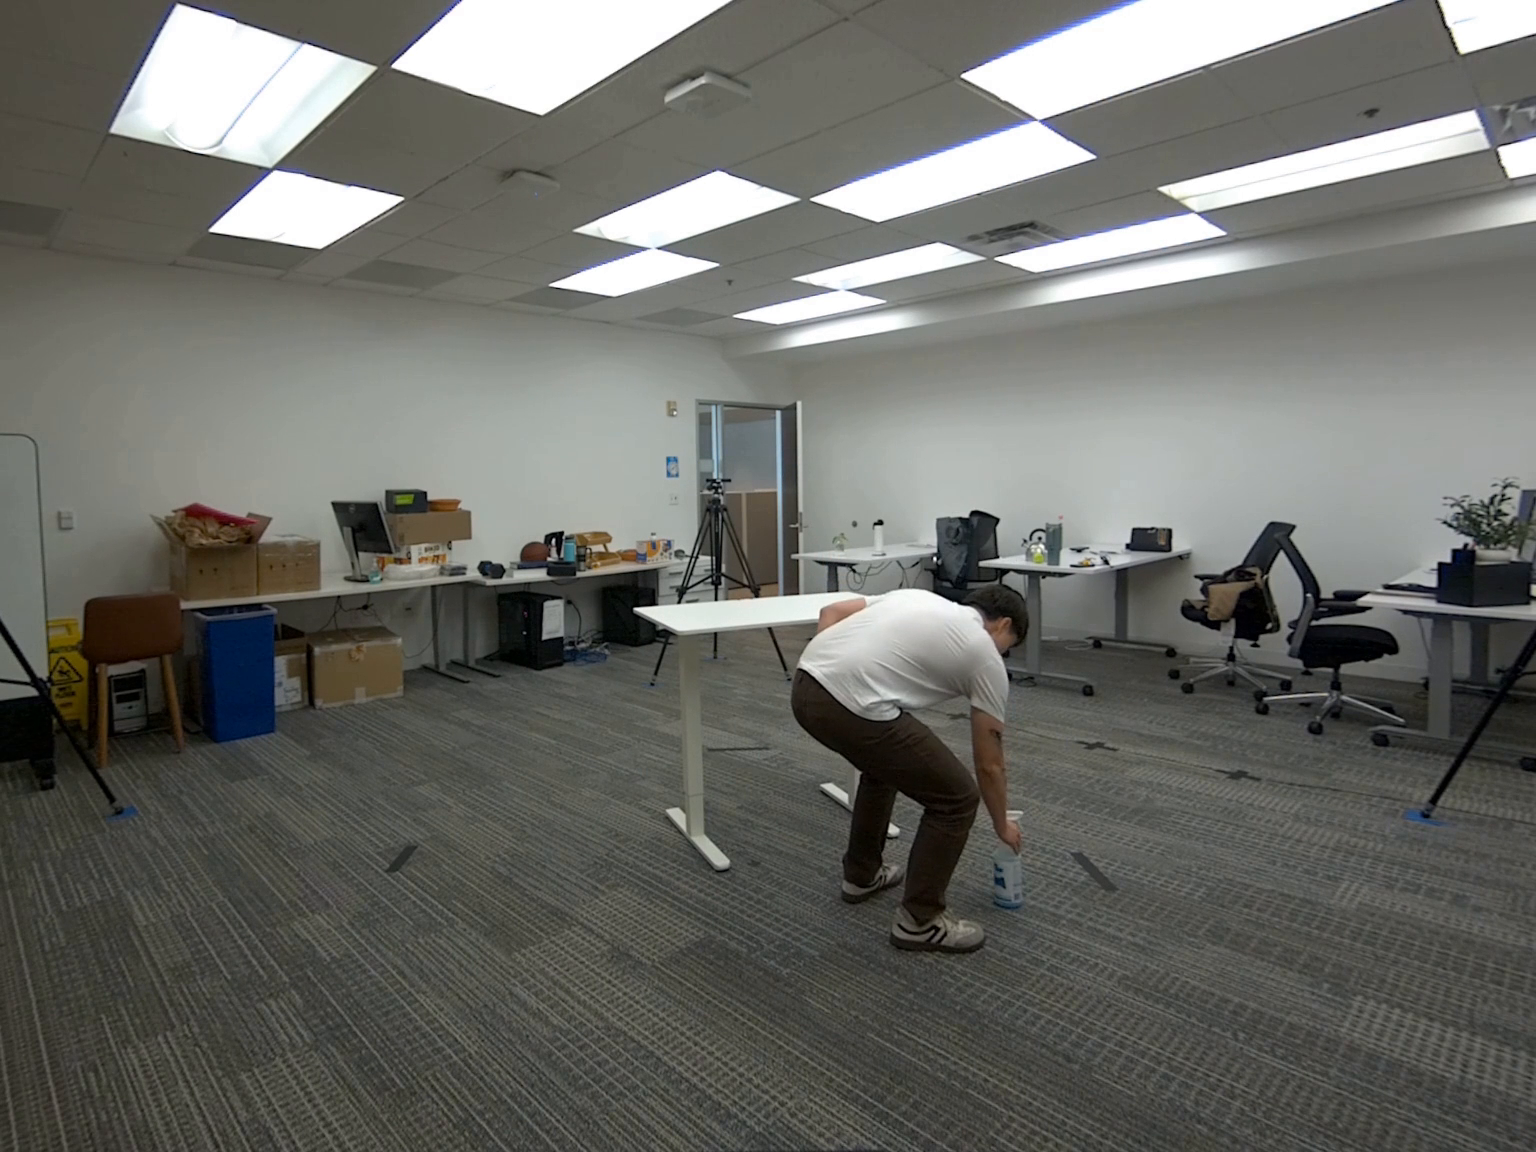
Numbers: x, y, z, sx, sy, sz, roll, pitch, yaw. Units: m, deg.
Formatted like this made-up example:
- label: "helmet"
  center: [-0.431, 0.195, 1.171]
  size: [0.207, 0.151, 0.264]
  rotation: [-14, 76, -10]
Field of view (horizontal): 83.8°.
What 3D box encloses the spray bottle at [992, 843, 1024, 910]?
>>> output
- label: "spray bottle"
  center: [0.780, 0.914, 2.778]
  size: [0.092, 0.297, 0.085]
  rotation: [0, 1, 36]
